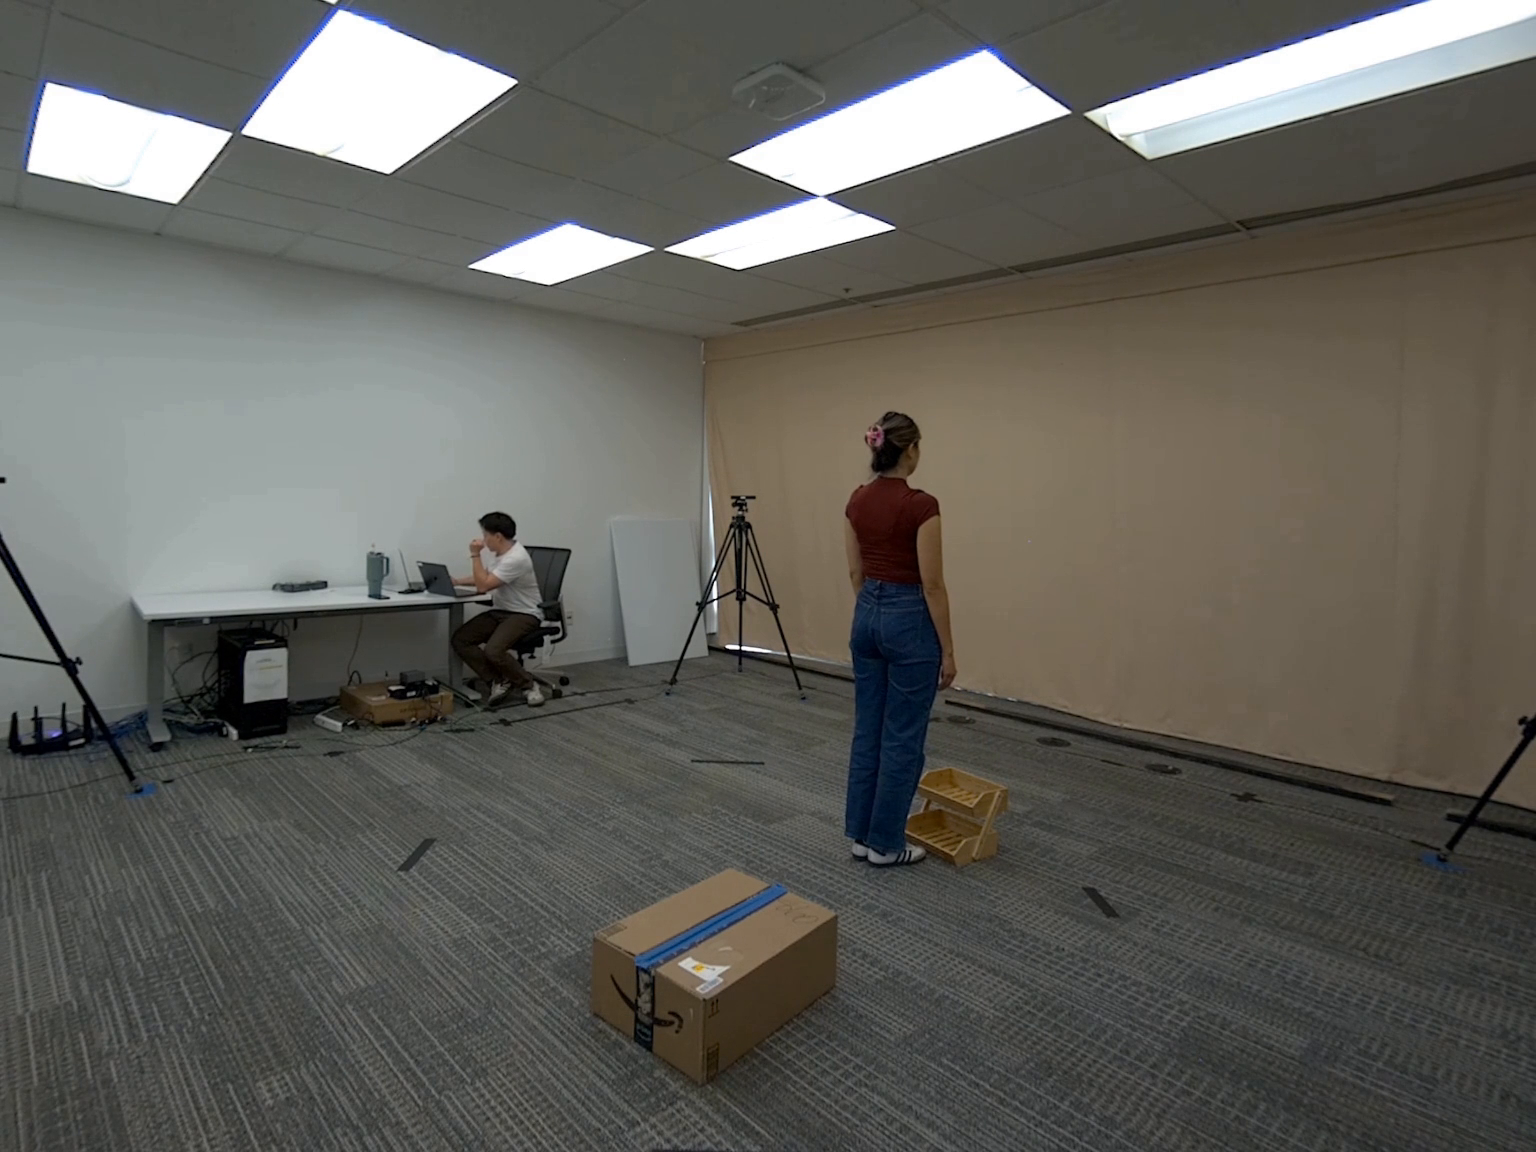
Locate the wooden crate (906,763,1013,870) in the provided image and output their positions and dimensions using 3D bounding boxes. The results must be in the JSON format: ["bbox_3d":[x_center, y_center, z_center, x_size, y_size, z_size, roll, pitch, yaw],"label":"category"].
[{"bbox_3d":[0.747,0.956,3.417,0.295,0.272,0.332,0,5,-35],"label":"wooden crate"}]
